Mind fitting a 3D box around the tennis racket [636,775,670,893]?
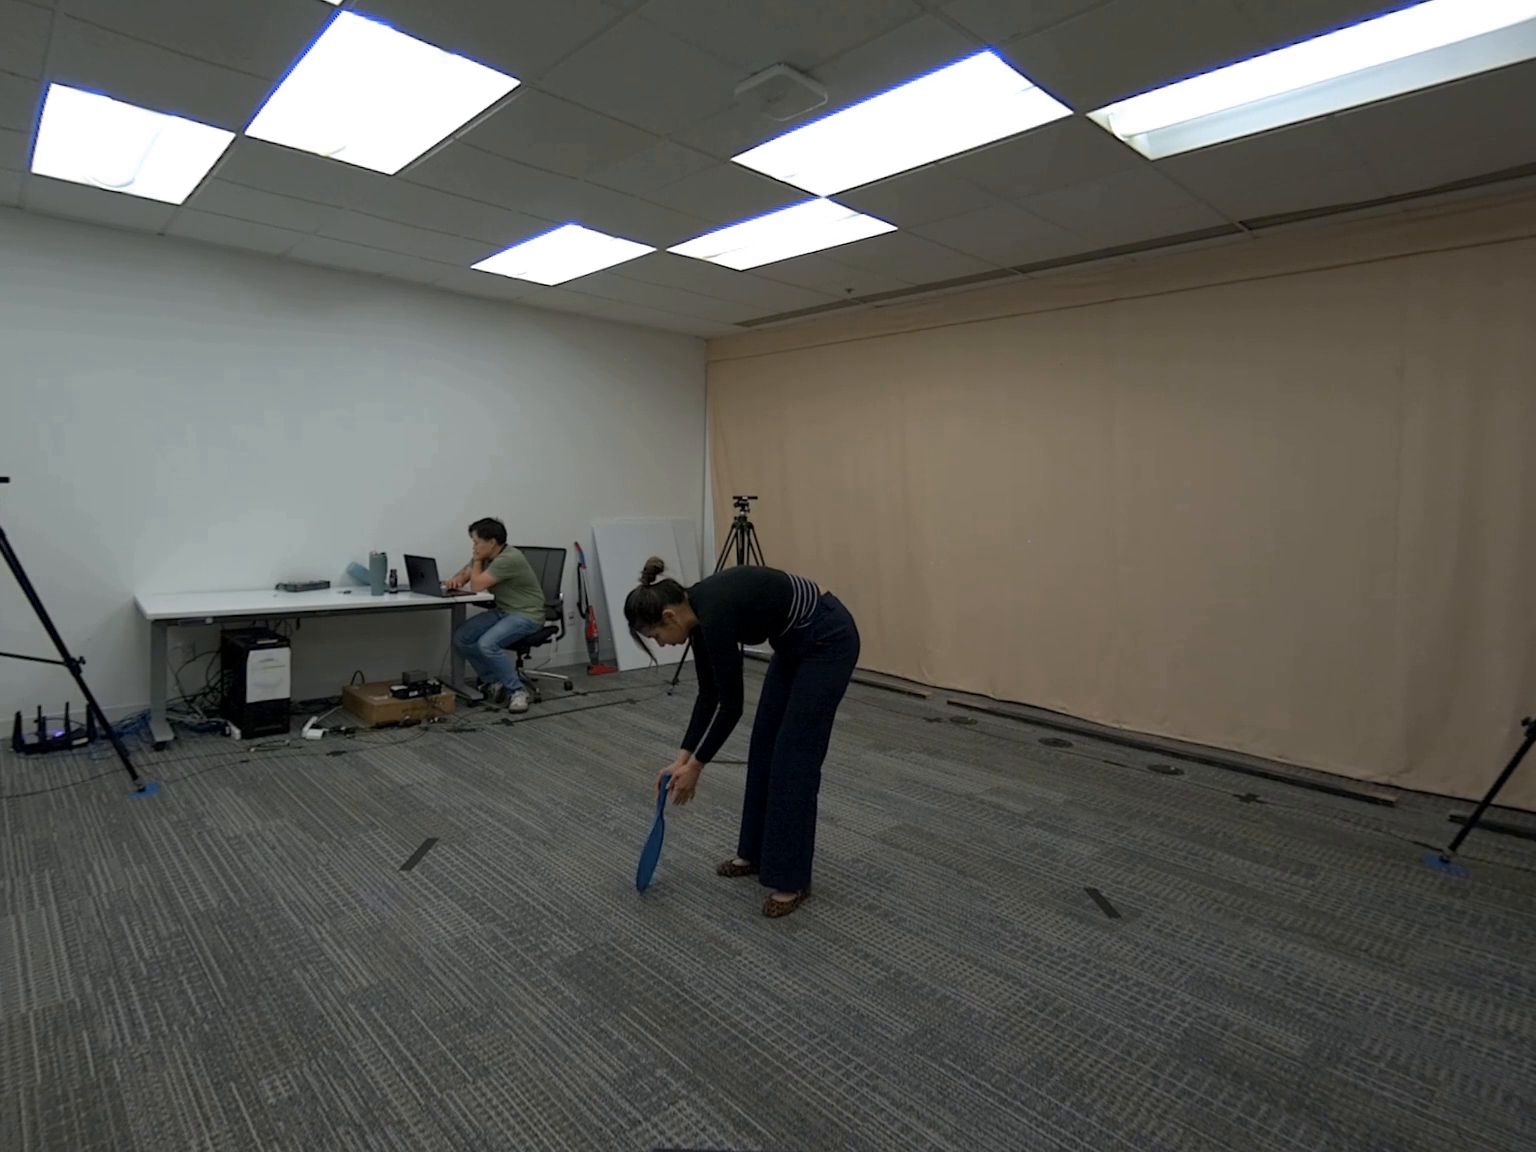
[{"bbox_3d":[-0.386,0.897,2.943,0.031,0.432,0.215,13,3,-8],"label":"tennis racket"}]
